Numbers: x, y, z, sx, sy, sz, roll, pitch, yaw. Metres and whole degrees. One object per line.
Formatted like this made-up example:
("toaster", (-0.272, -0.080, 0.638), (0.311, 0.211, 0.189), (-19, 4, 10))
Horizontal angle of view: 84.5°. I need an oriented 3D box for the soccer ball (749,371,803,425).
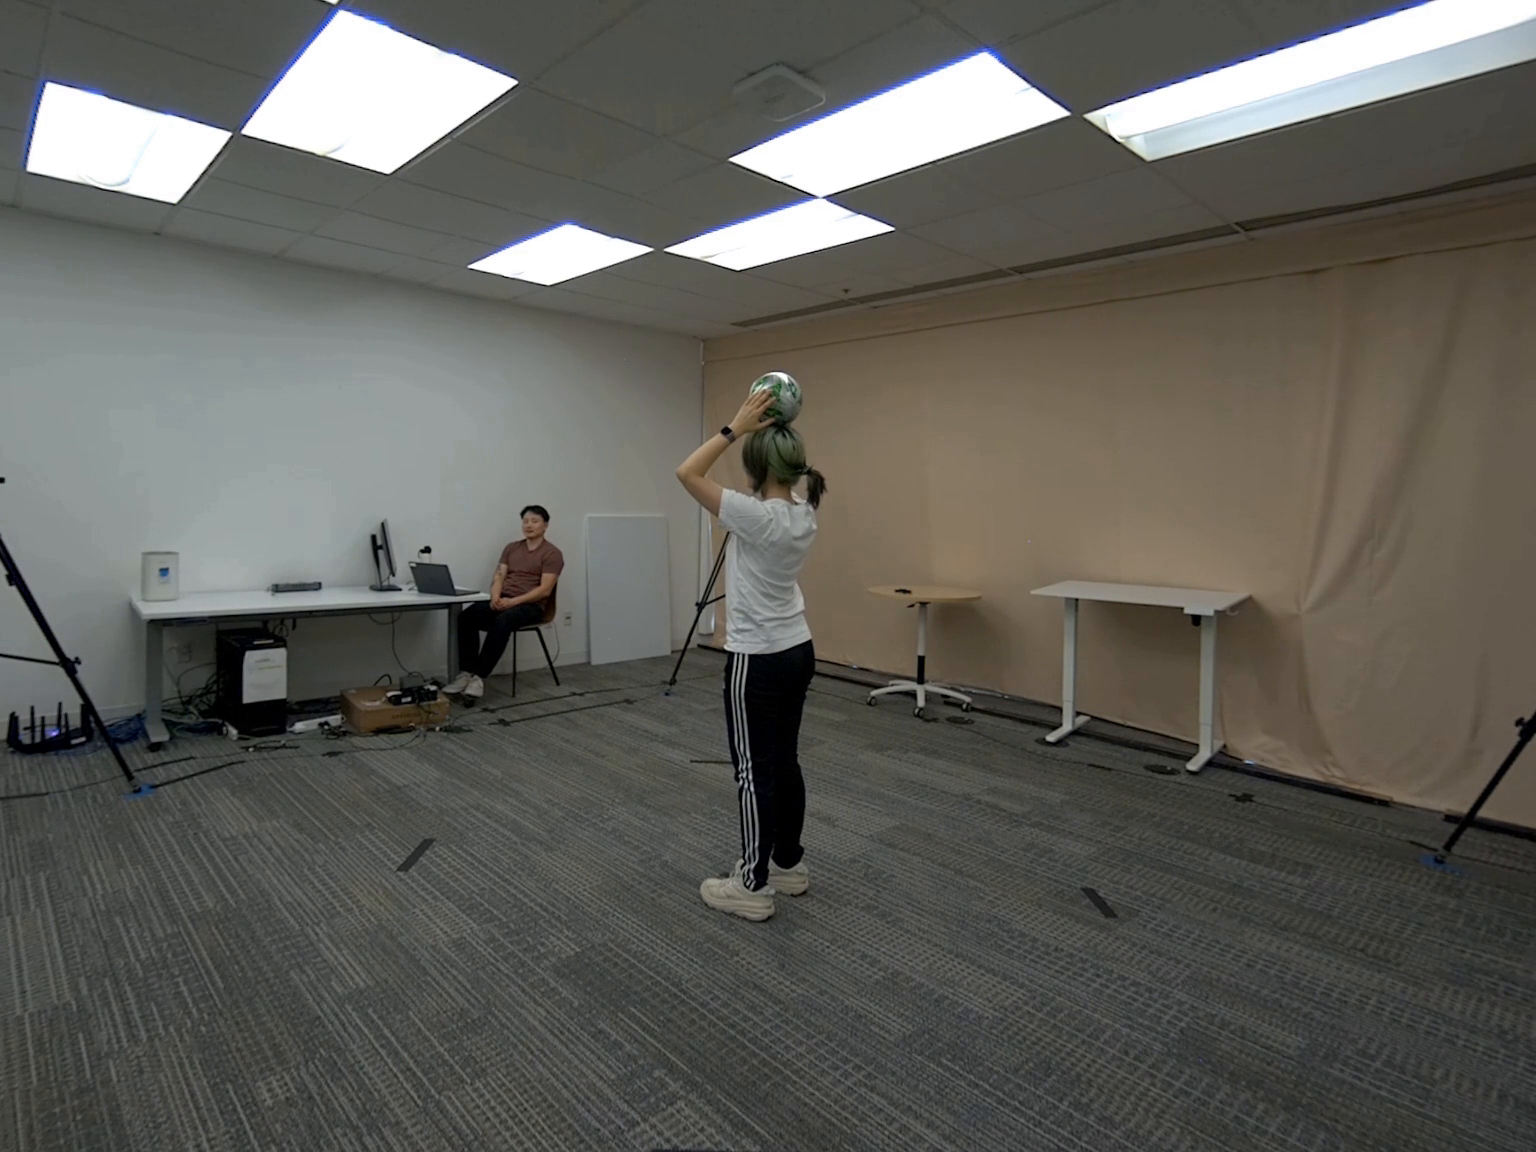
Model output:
("soccer ball", (0.021, -0.594, 2.855), (0.187, 0.187, 0.188), (1, 4, -1))
